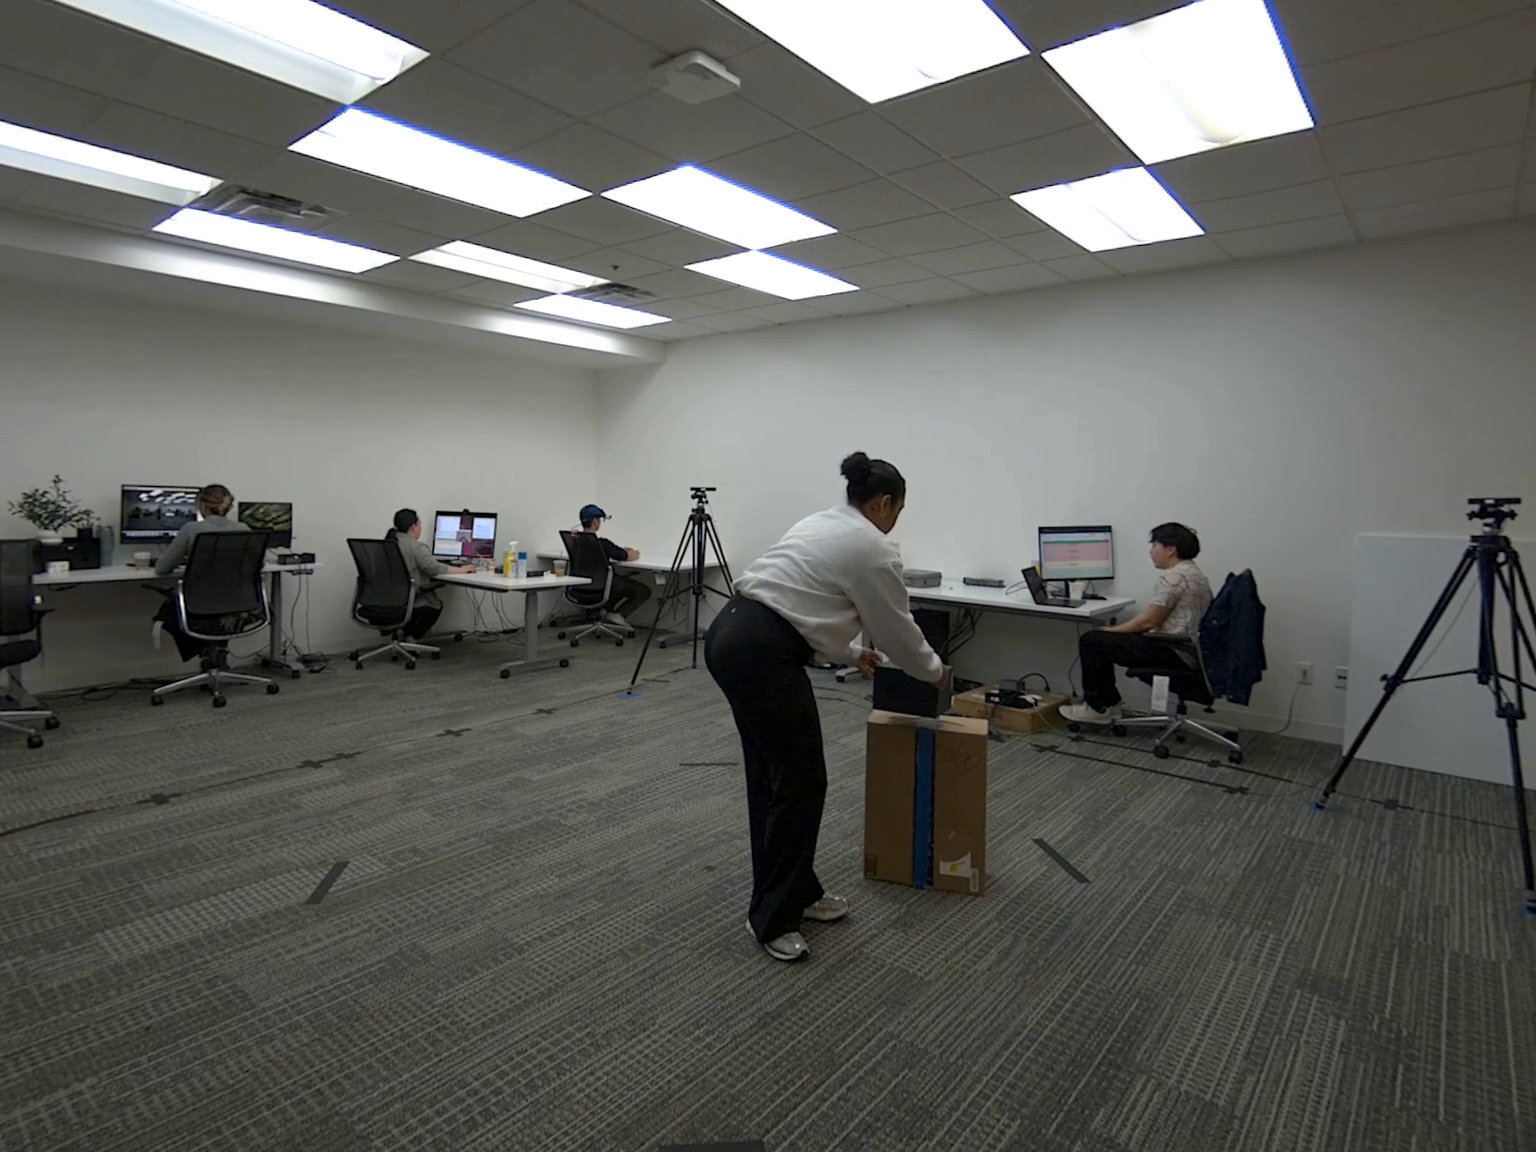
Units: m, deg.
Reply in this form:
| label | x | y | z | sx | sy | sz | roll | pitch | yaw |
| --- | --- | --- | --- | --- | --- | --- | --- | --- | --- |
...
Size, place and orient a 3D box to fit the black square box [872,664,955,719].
| label | x | y | z | sx | sy | sz | roll | pitch | yaw |
| --- | --- | --- | --- | --- | --- | --- | --- | --- | --- |
| black square box | 0.513 | 0.394 | 3.032 | 0.234 | 0.156 | 0.211 | 3 | 2 | 27 |
